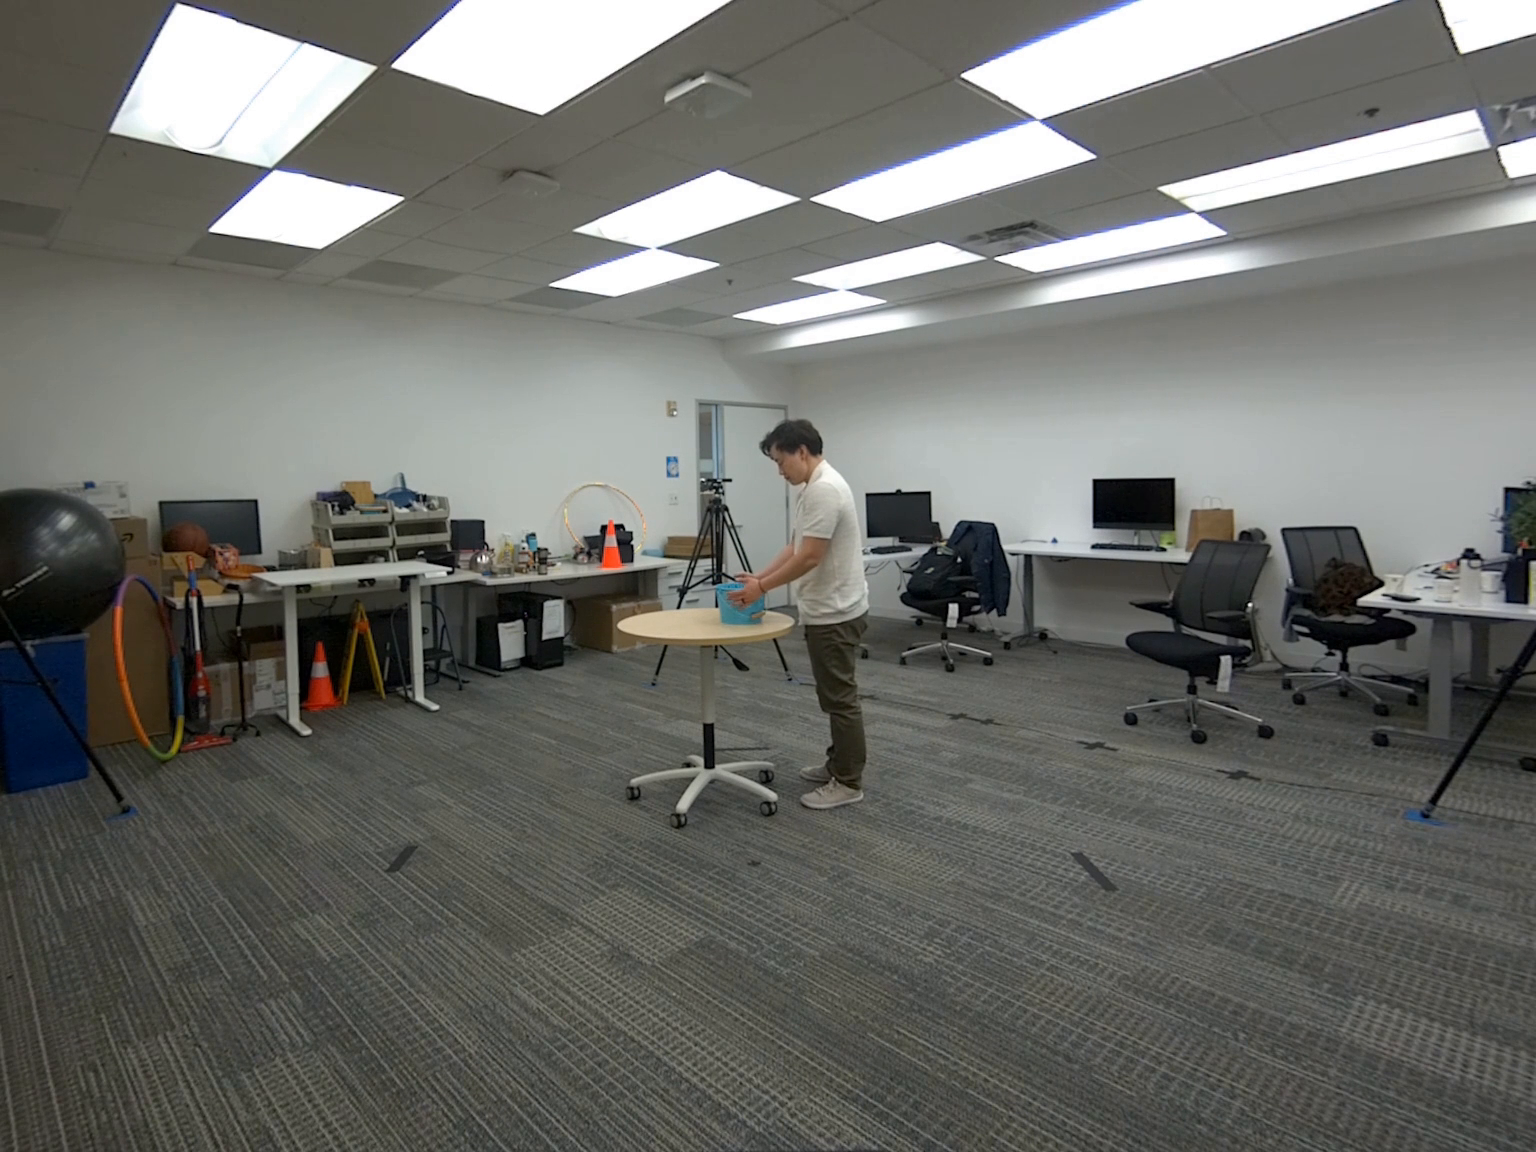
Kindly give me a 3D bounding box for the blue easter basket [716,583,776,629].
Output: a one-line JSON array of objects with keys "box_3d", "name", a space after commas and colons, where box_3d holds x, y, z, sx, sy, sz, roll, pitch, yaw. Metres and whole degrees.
[{"box_3d": [-0.102, 0.121, 3.704, 0.243, 0.155, 0.245, -2, 6, -2], "name": "blue easter basket"}]
